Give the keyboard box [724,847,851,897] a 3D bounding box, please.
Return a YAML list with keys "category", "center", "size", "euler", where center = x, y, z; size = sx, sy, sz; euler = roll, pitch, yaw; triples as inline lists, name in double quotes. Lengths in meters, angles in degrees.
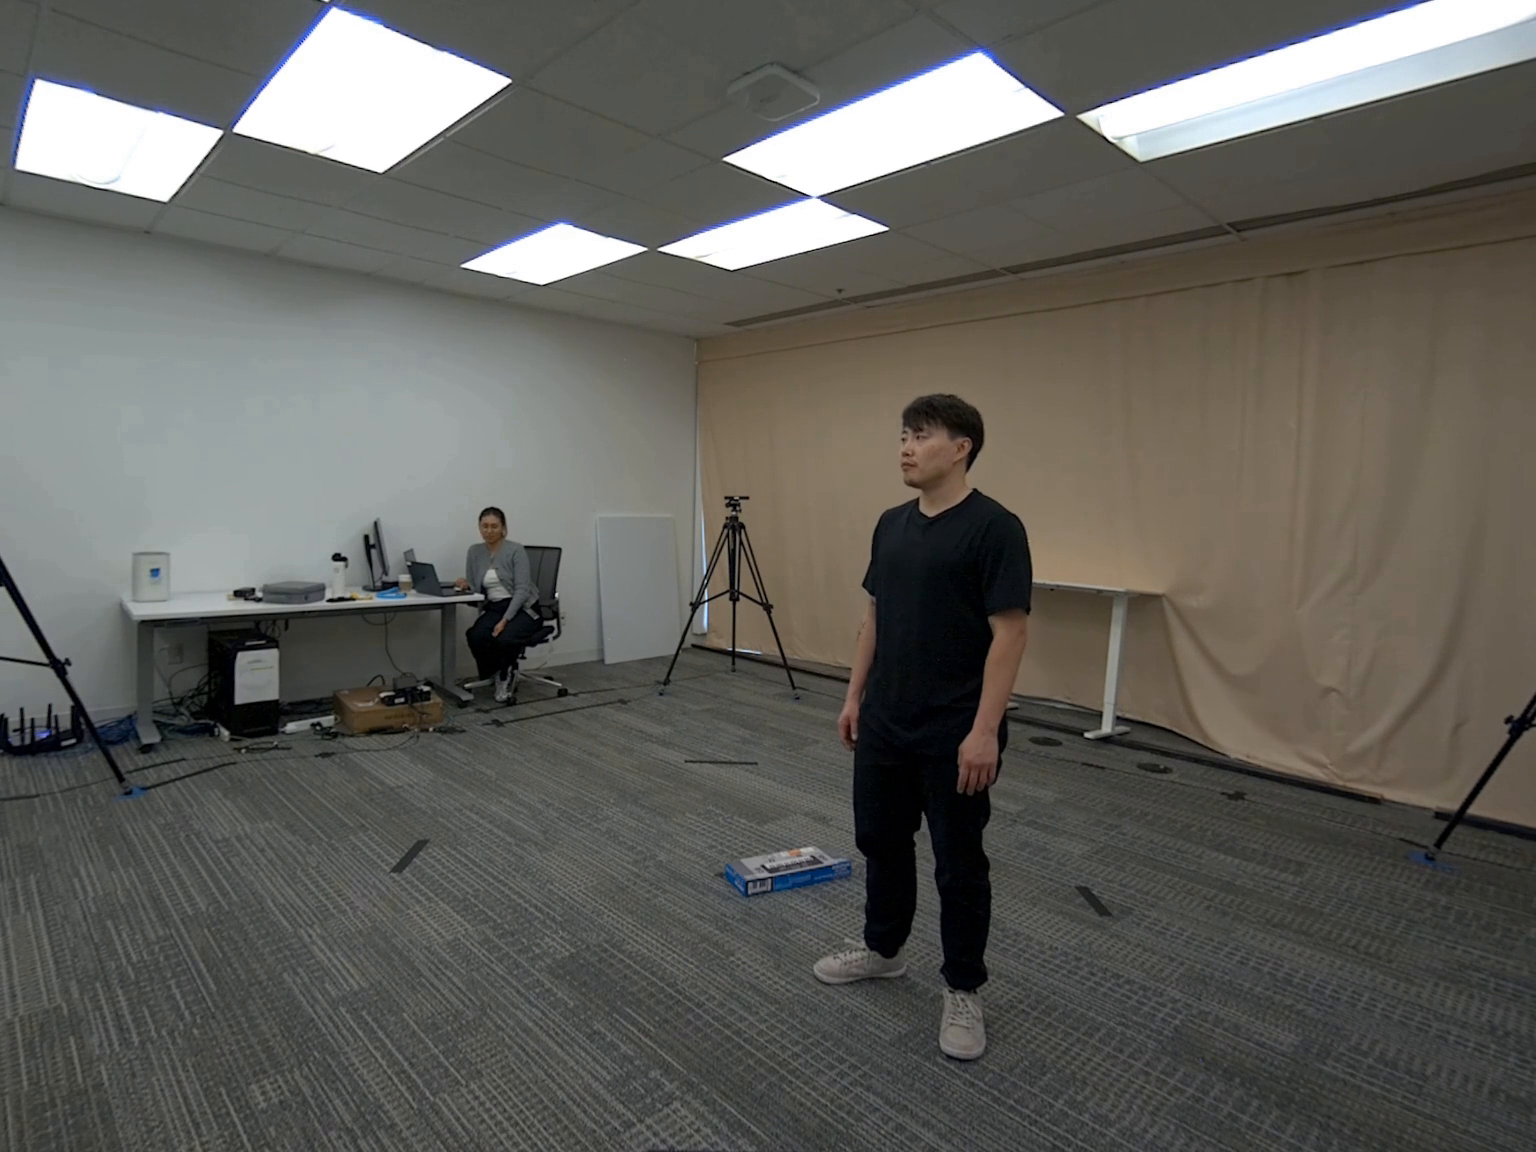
- category: "keyboard box"
  center: [0.067, 1.078, 3.100]
  size: [0.429, 0.059, 0.179]
  euler: [-1, 5, -26]
